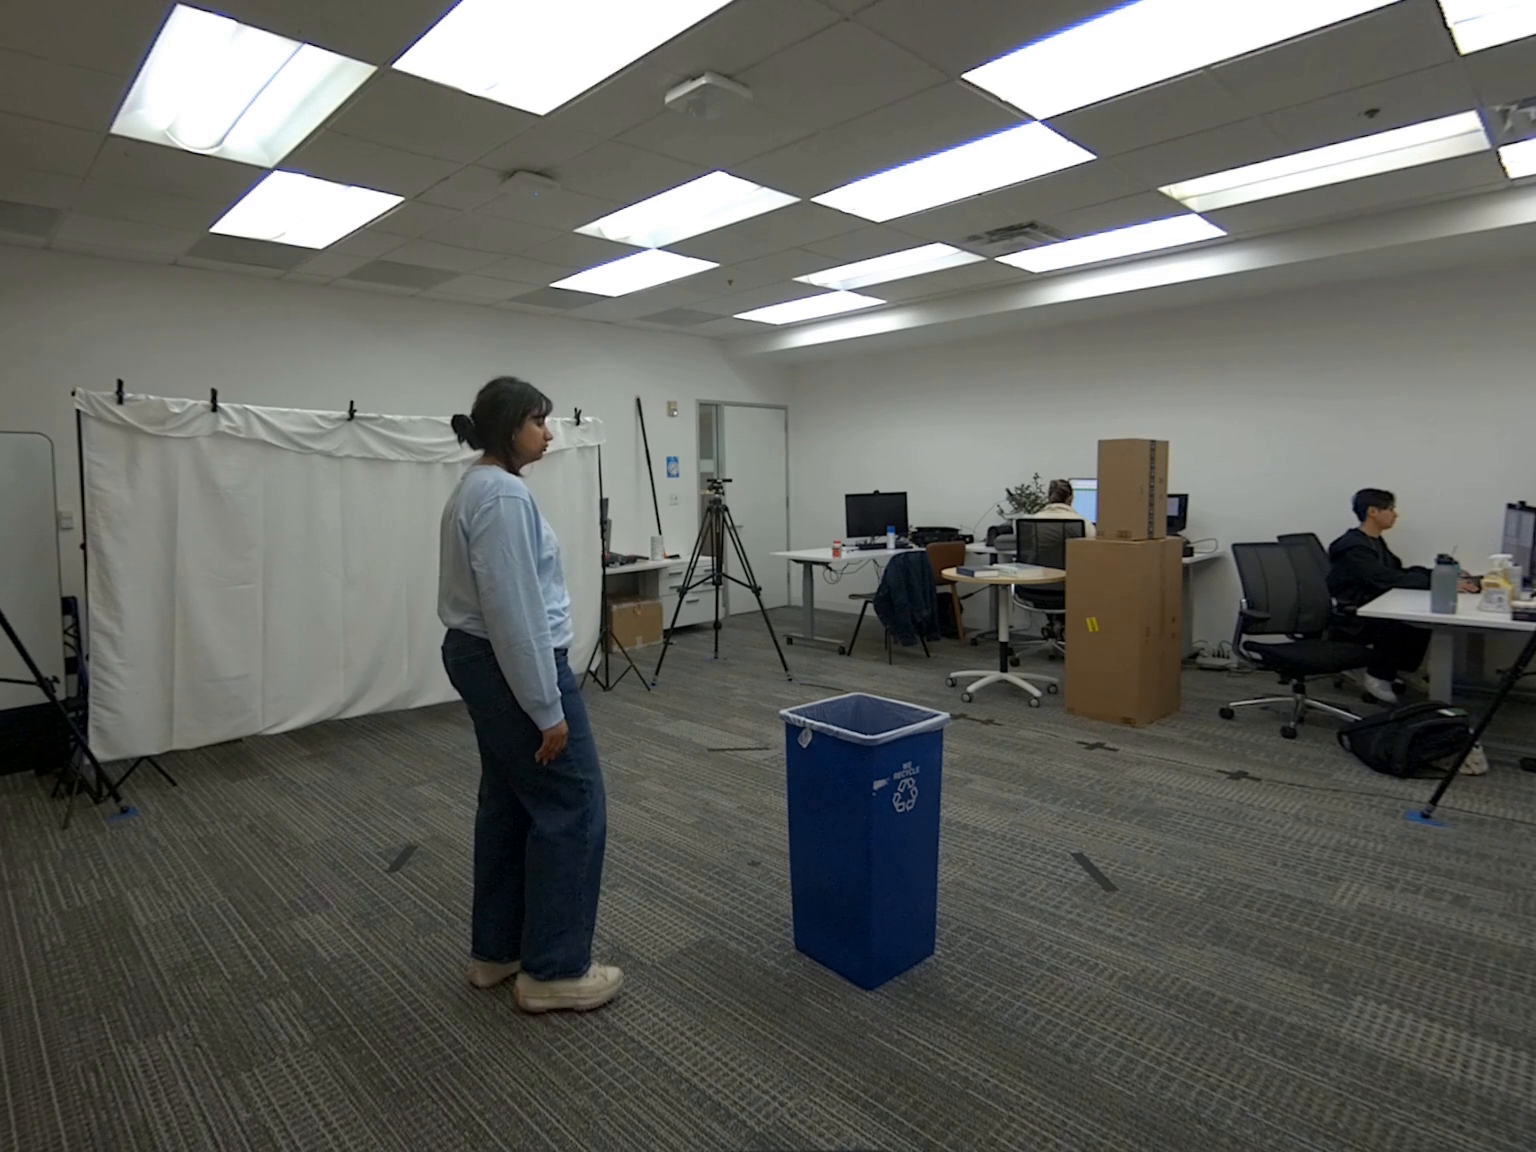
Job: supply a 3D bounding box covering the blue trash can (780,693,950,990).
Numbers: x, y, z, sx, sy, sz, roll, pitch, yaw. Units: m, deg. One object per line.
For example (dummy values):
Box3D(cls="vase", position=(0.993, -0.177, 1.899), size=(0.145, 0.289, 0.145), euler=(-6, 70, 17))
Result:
Box3D(cls="blue trash can", position=(0.290, 0.751, 2.514), size=(0.364, 0.711, 0.390), euler=(-4, 5, -41))
